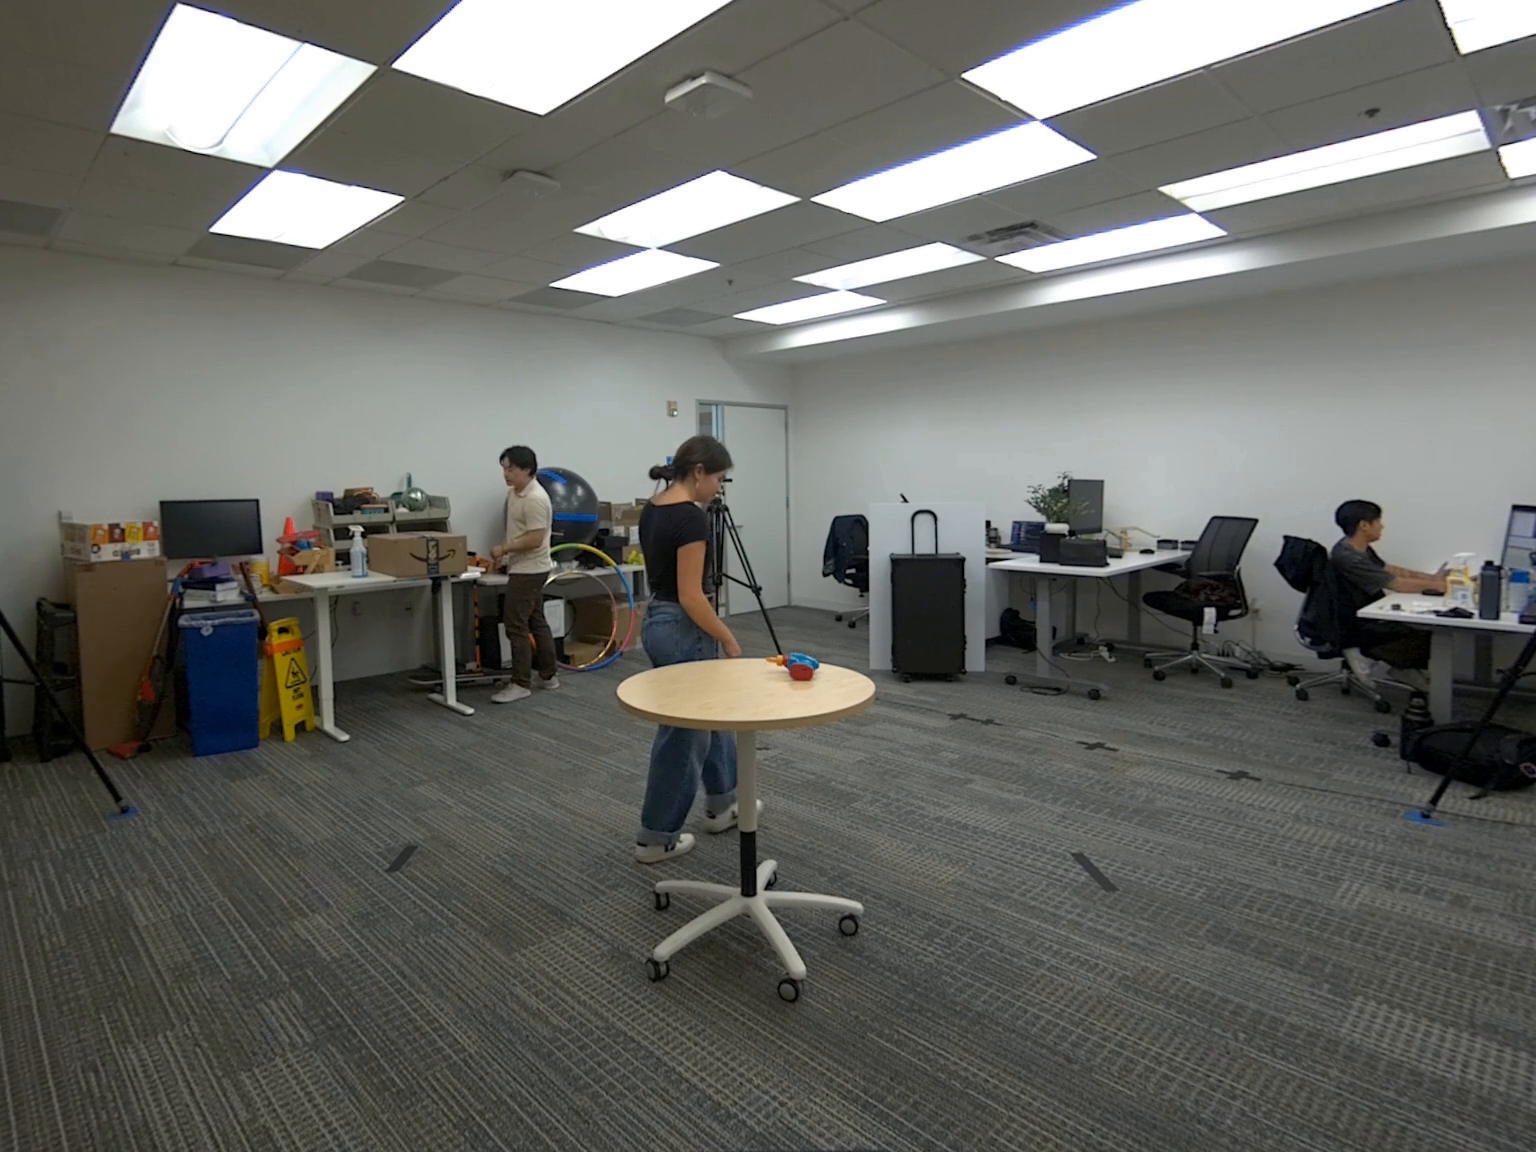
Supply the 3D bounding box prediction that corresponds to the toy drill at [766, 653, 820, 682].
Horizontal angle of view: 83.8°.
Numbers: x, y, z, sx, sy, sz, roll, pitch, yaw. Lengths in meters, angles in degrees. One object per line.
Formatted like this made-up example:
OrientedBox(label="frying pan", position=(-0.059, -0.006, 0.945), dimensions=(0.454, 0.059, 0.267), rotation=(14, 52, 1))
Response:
OrientedBox(label="toy drill", position=(0.073, 0.280, 2.675), dimensions=(0.172, 0.061, 0.145), rotation=(7, 8, 9))
